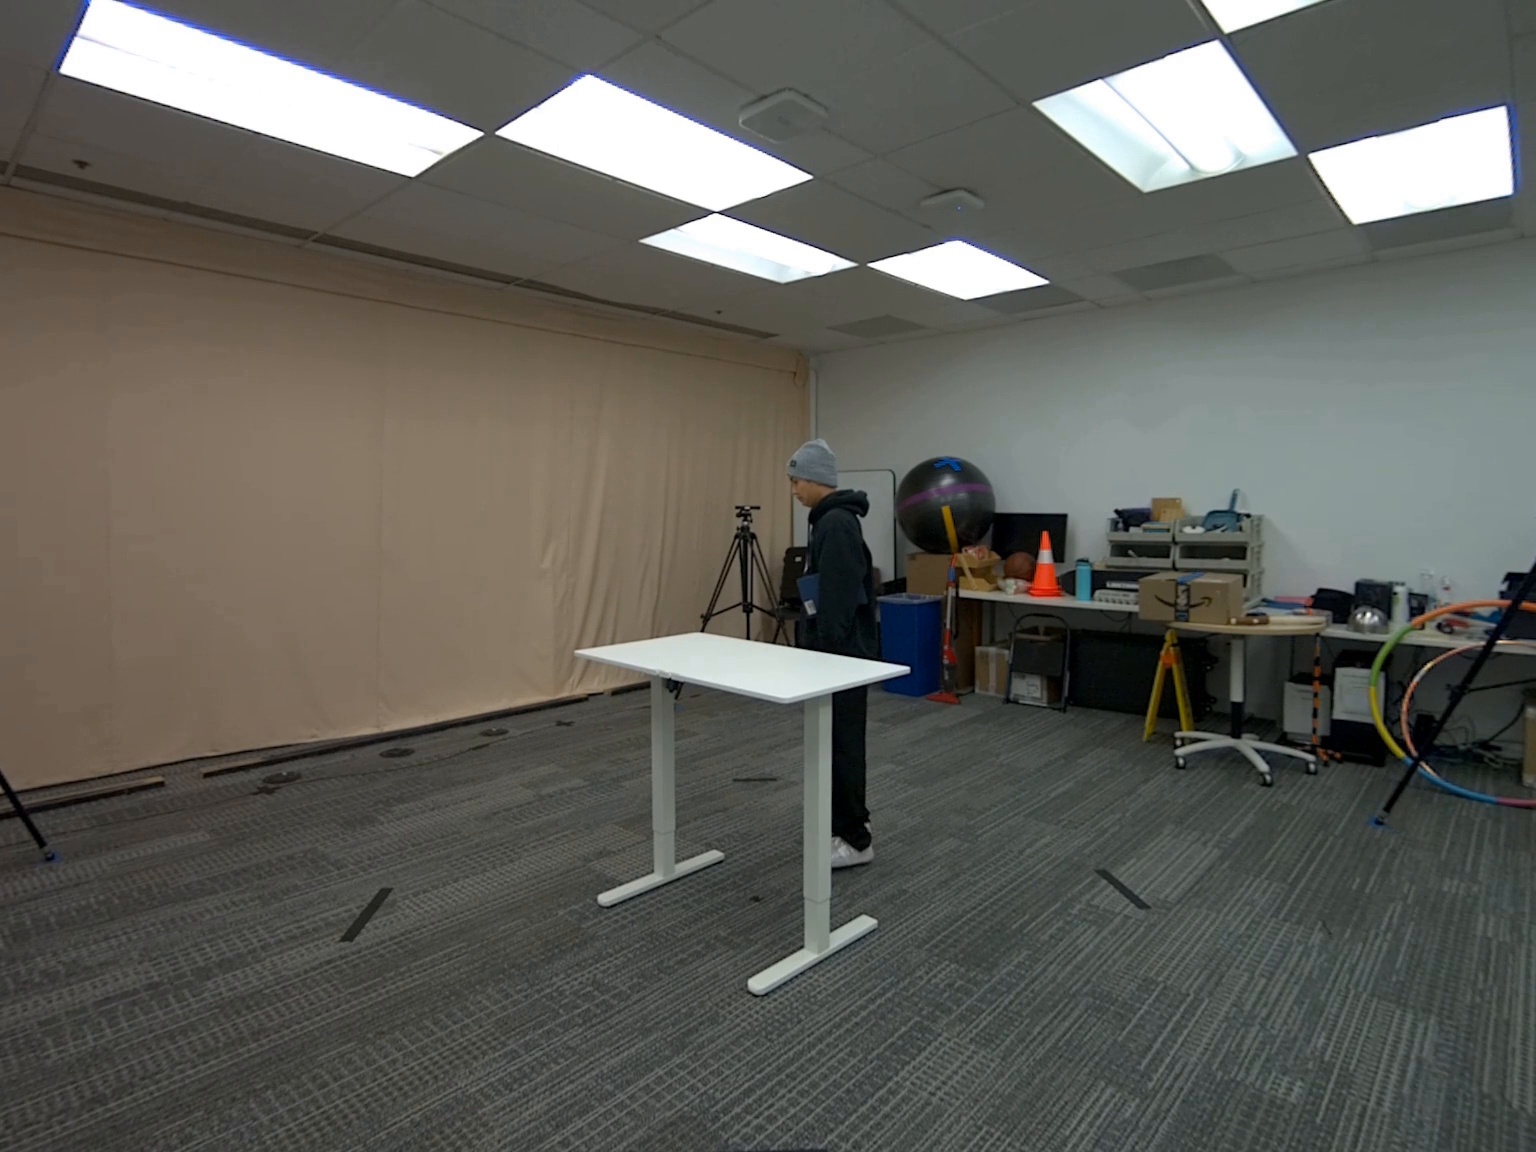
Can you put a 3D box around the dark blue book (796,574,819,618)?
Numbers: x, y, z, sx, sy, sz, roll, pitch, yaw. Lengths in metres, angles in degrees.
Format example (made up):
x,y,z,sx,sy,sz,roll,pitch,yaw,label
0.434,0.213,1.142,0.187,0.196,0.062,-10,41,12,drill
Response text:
x,y,z,sx,sy,sz,roll,pitch,yaw,label
0.250,0.065,3.343,0.246,0.163,0.045,-16,3,6,dark blue book
